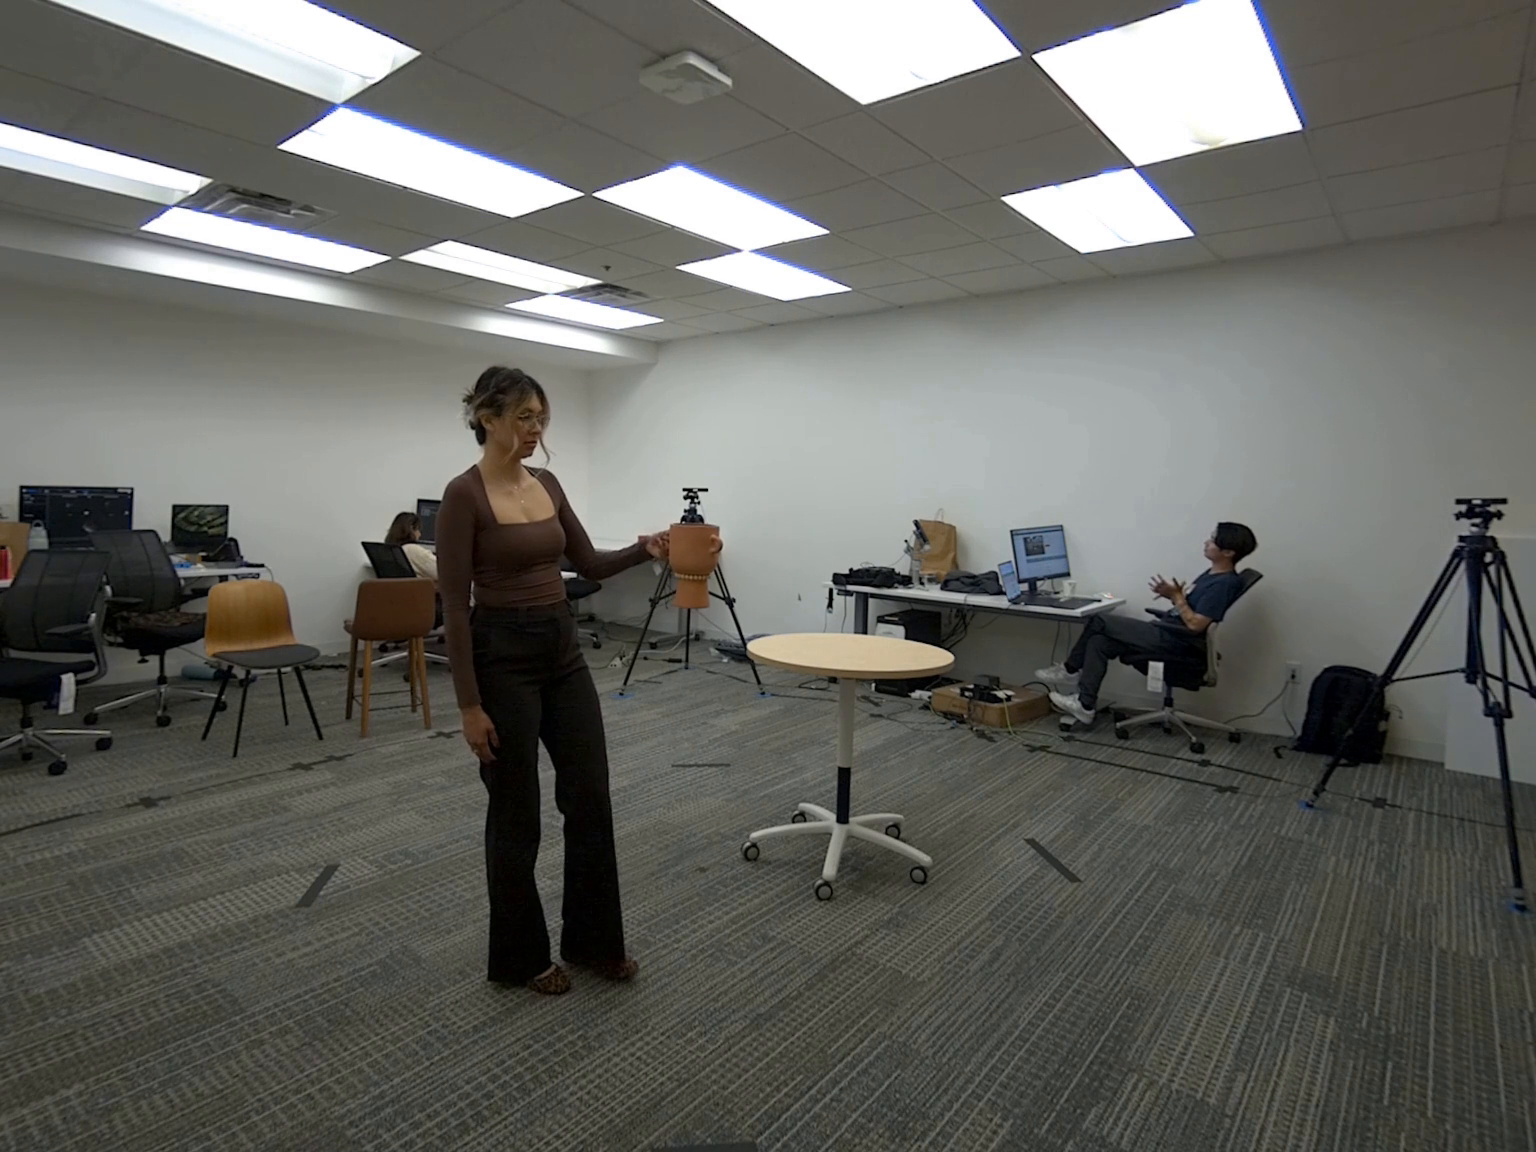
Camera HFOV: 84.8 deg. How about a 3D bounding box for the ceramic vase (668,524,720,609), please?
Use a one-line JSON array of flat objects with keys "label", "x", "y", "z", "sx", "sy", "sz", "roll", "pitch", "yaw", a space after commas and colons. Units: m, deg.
[{"label": "ceramic vase", "x": -0.210, "y": -0.026, "z": 2.267, "sx": 0.133, "sy": 0.219, "sz": 0.161, "roll": 1, "pitch": 4, "yaw": -11}]
